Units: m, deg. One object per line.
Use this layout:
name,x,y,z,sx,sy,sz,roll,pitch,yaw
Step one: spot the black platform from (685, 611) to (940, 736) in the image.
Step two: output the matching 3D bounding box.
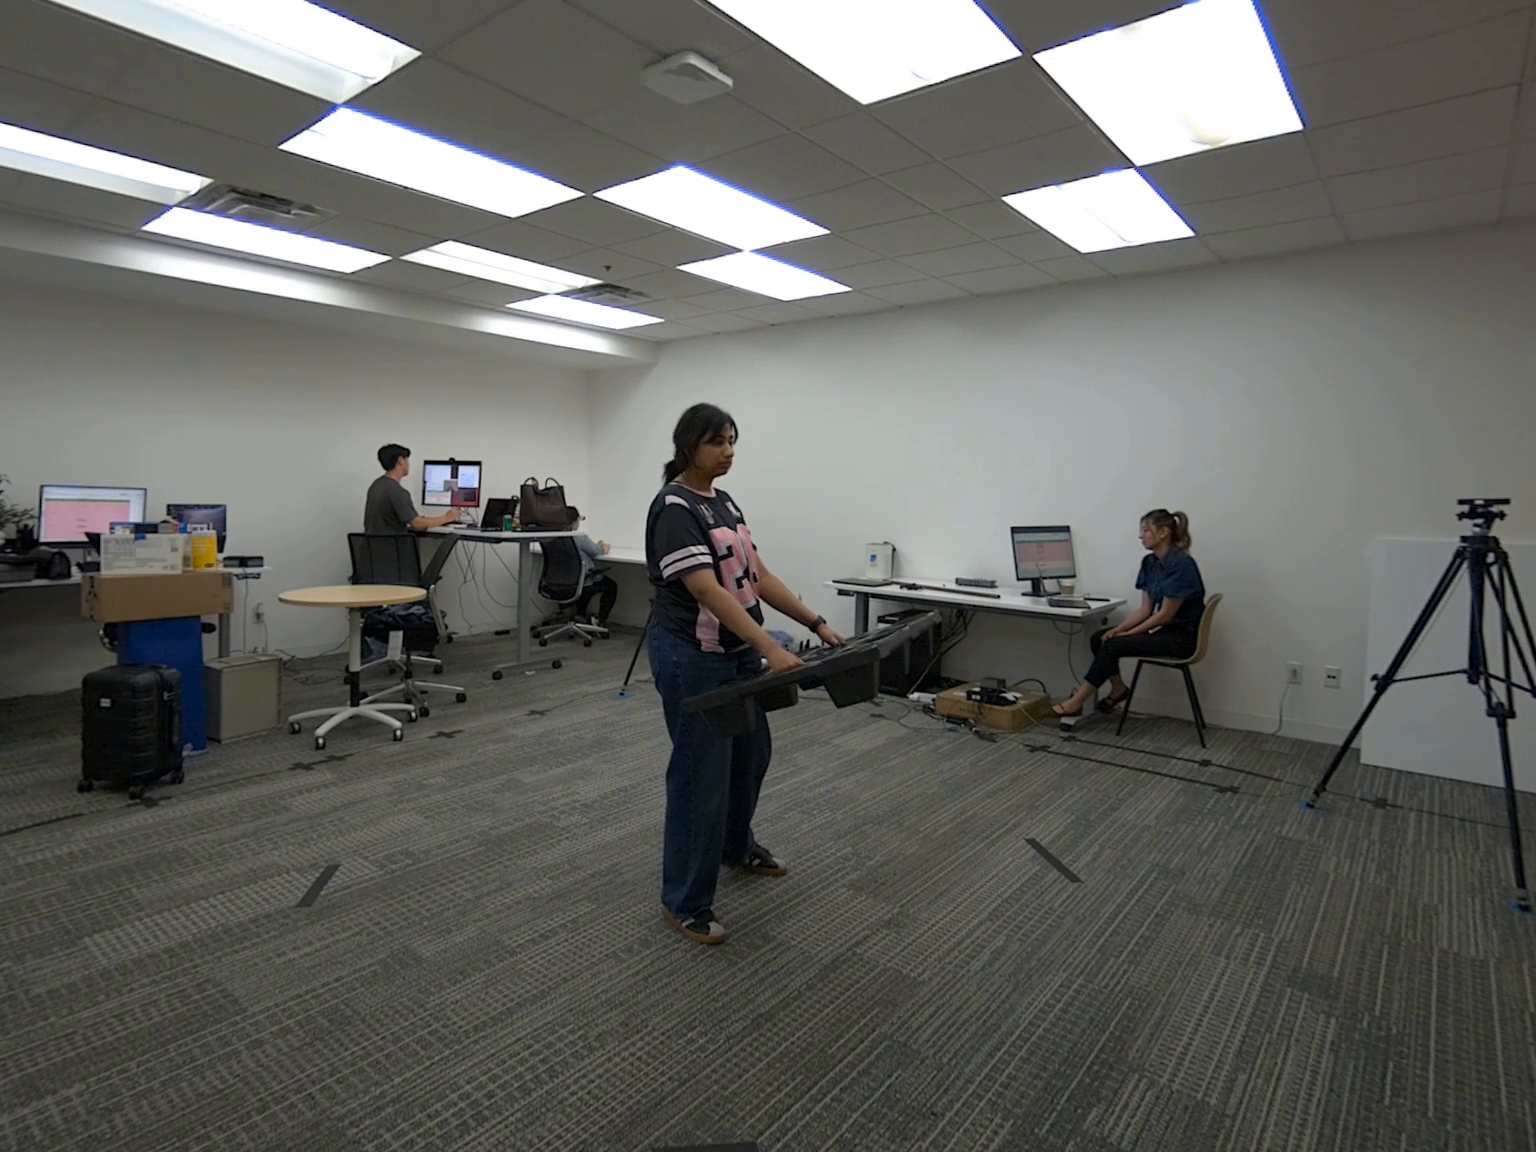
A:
black platform,0.180,0.295,2.624,0.614,0.144,0.788,-18,-3,24
